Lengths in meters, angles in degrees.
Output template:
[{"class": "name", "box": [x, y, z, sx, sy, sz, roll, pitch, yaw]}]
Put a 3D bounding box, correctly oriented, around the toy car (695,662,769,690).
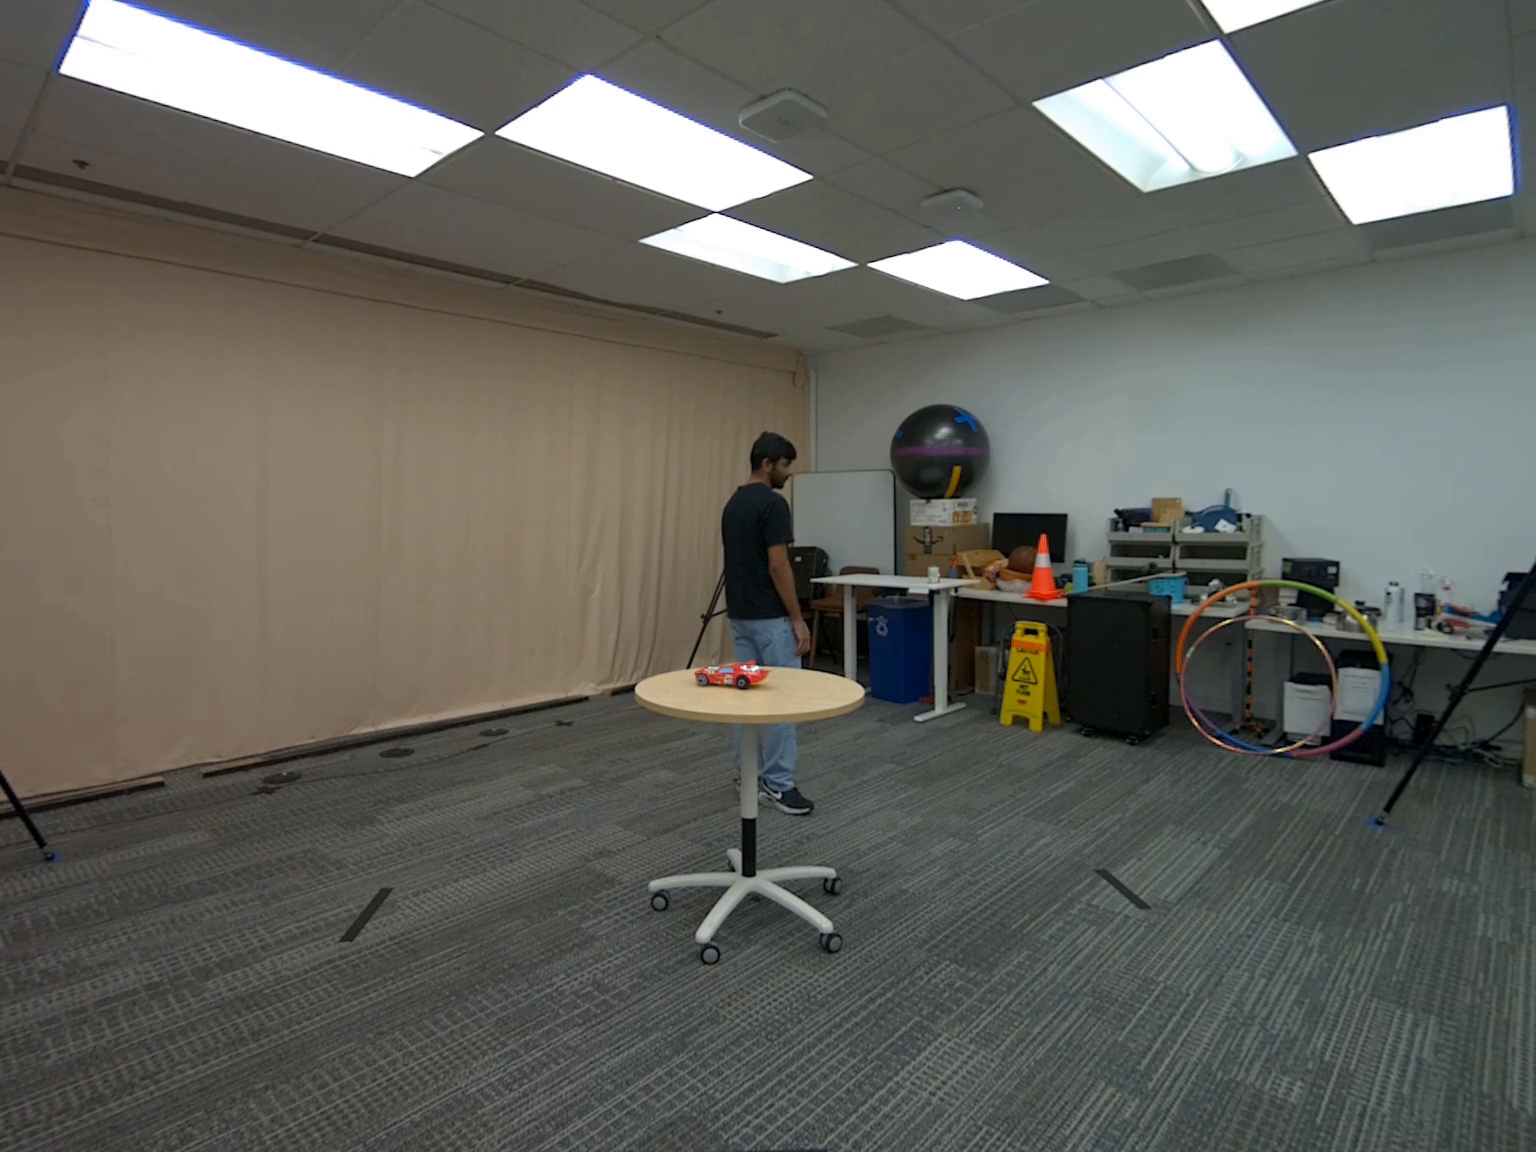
[{"class": "toy car", "box": [-0.117, 0.339, 2.858, 0.259, 0.083, 0.128, -9, 1, 20]}]
